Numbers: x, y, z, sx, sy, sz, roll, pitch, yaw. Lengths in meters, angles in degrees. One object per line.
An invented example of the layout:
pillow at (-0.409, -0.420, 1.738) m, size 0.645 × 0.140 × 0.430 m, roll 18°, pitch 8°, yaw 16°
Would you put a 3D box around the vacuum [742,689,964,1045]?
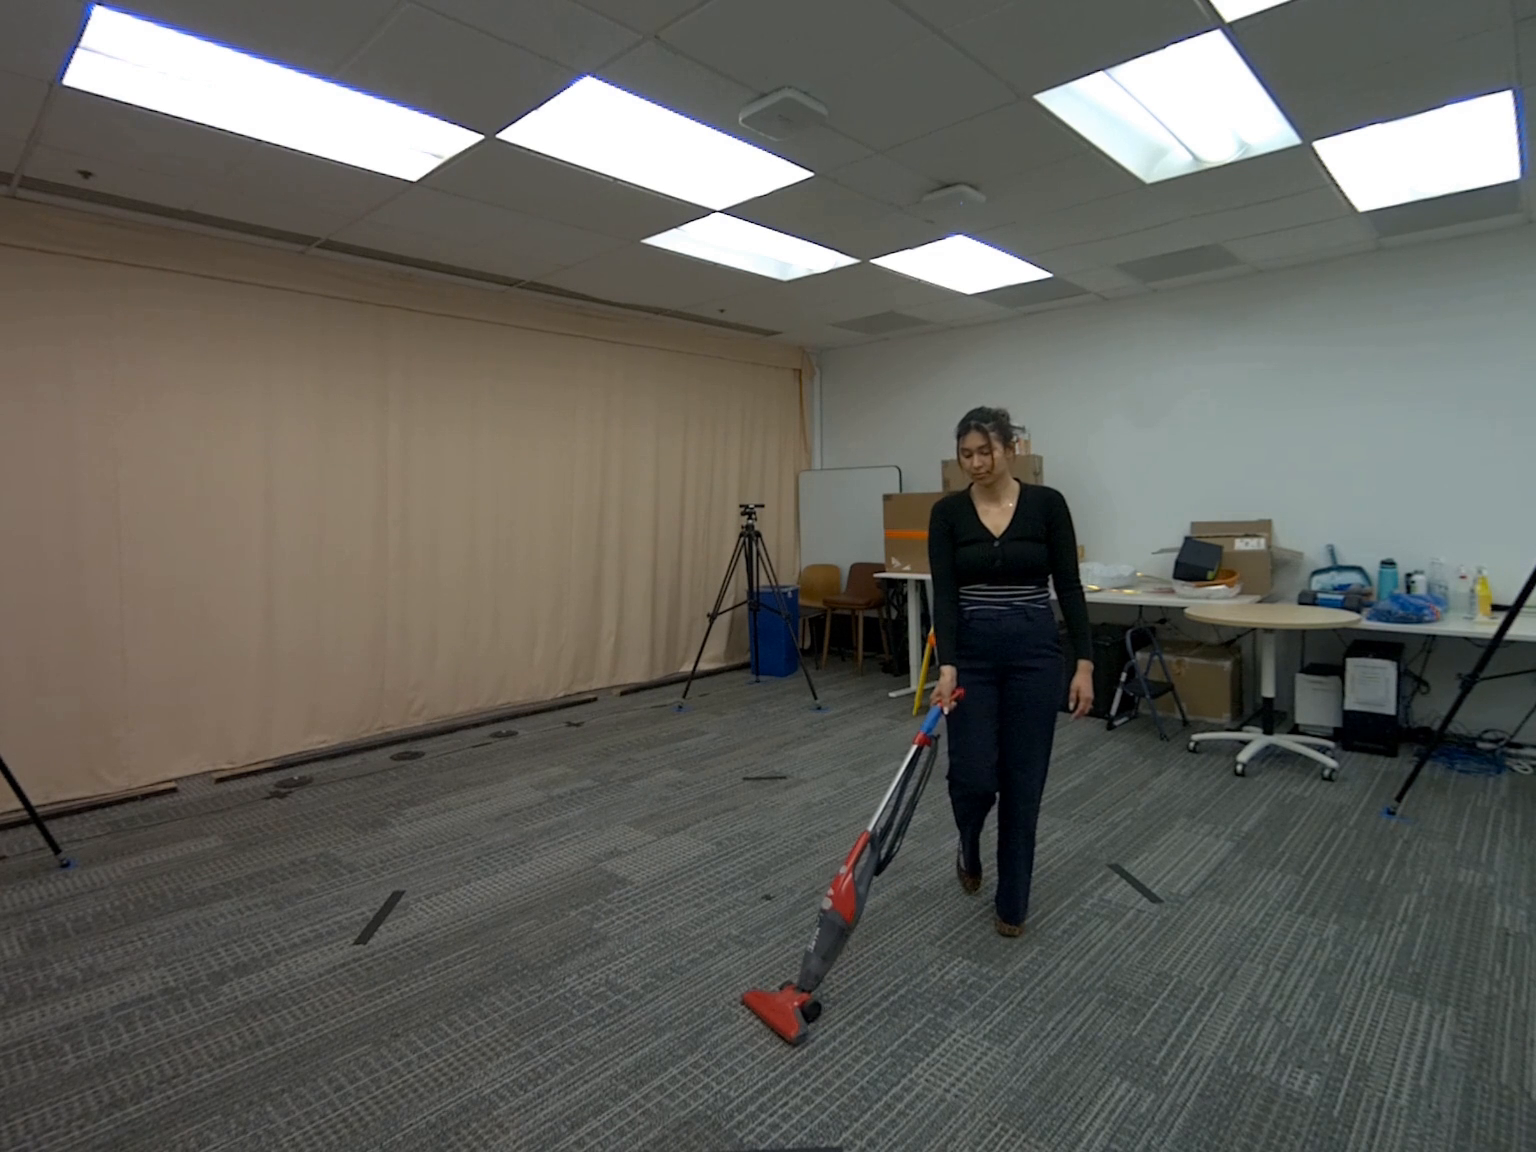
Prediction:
vacuum at (0.323, 0.793, 2.459) m, size 0.261 × 1.047 × 0.139 m, roll 11°, pitch -31°, yaw 51°
